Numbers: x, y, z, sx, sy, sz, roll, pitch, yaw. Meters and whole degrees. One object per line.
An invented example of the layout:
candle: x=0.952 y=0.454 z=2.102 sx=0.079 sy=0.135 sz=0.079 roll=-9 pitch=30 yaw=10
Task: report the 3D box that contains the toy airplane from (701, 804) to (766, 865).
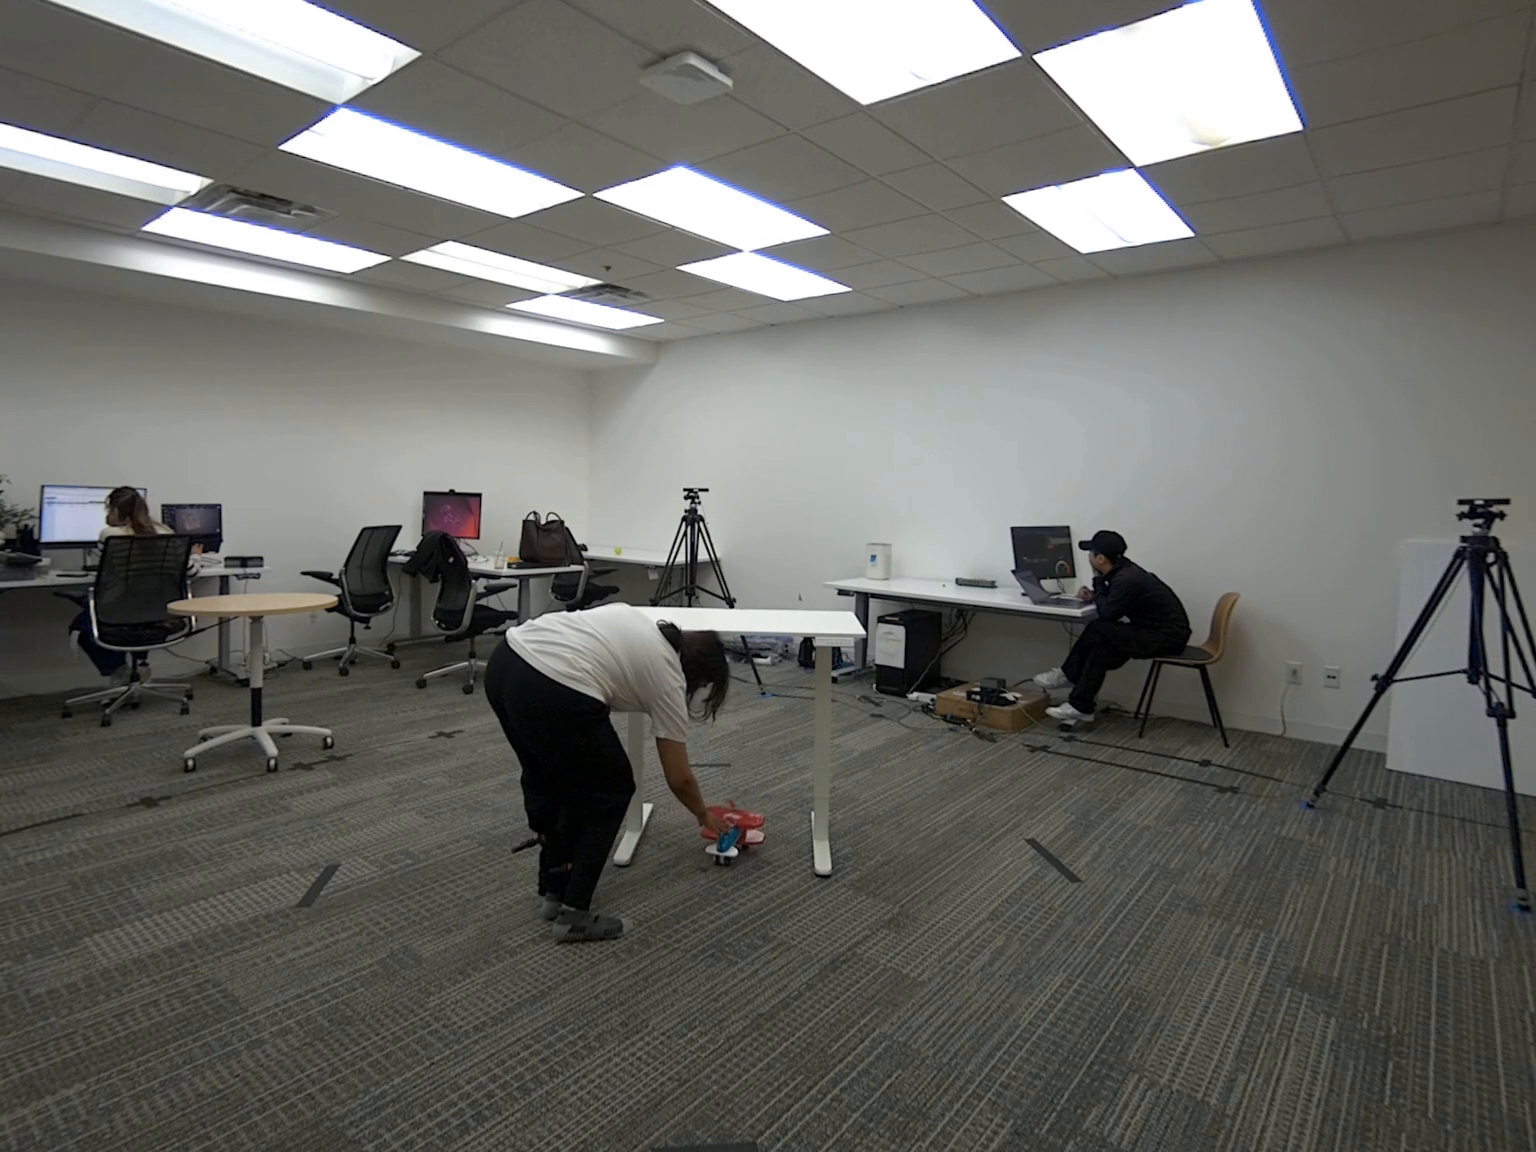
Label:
toy airplane: x=-0.135 y=0.986 z=3.239 sx=0.248 sy=0.156 sz=0.264 roll=-1 pitch=5 yaw=-14
